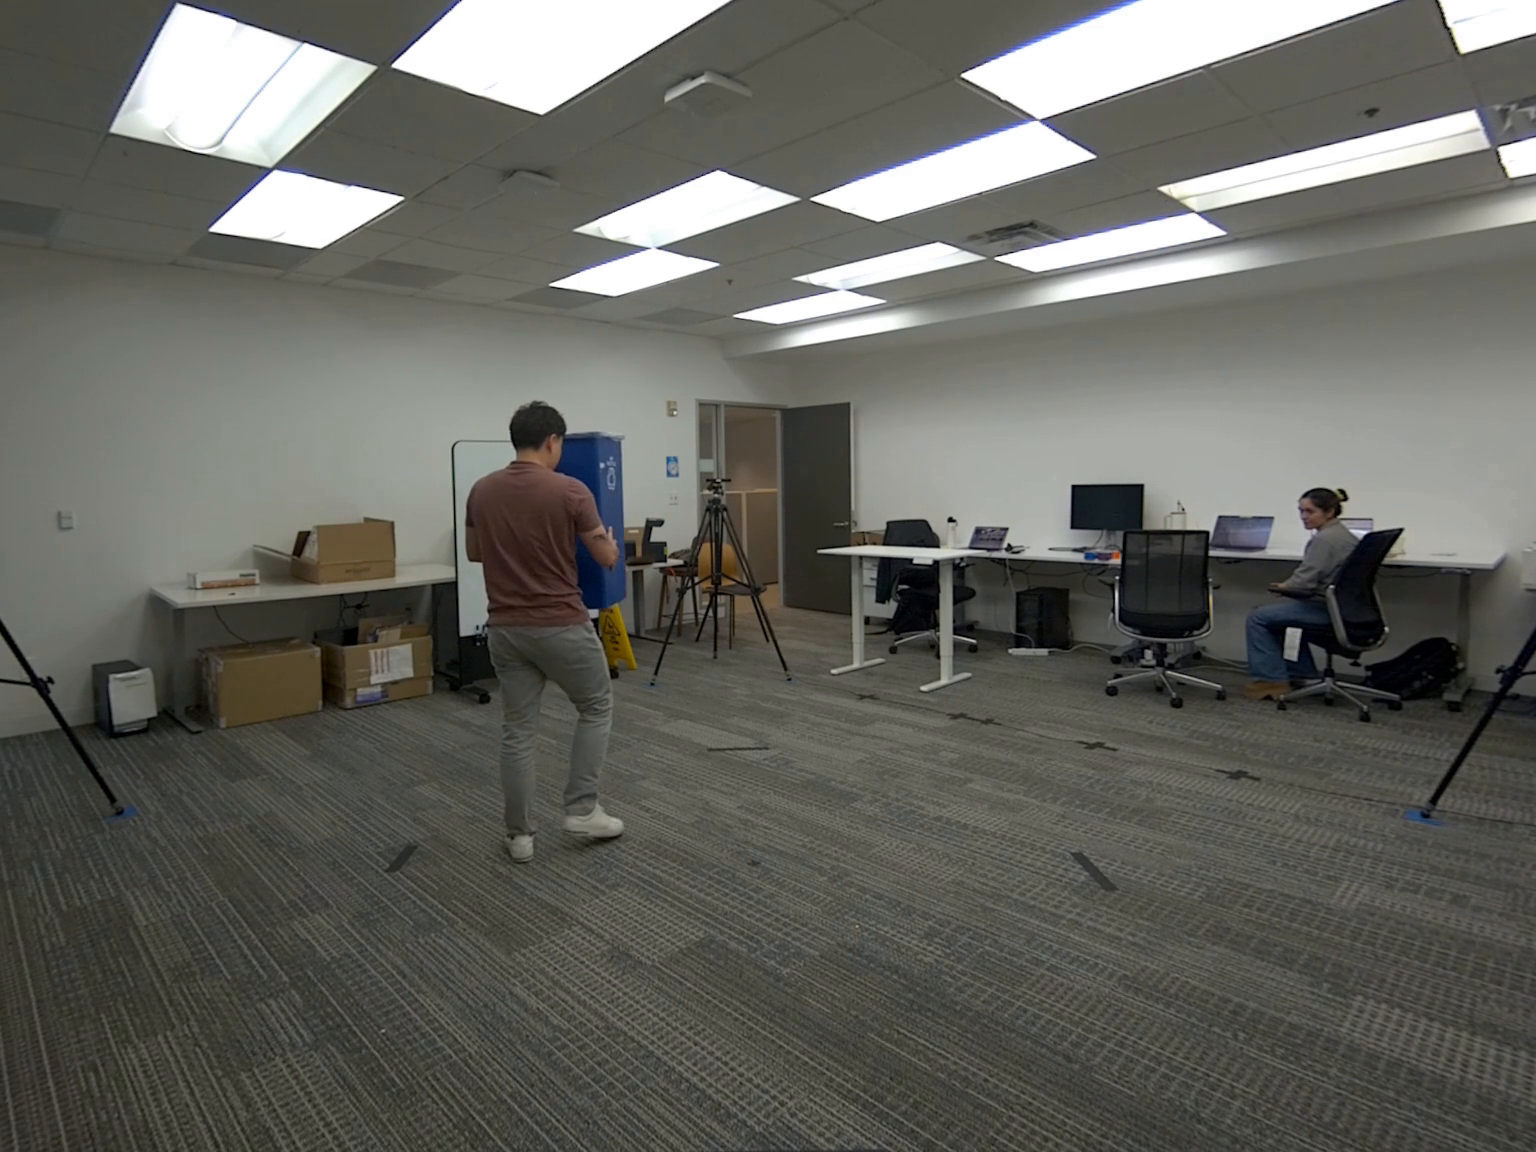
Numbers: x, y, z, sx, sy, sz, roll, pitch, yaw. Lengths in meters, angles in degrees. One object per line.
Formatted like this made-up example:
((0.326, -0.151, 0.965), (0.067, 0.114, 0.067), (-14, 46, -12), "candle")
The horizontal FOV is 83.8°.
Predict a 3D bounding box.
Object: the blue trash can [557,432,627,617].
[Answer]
((-0.808, -0.237, 3.603), (0.382, 0.710, 0.372), (-2, 6, 10), "blue trash can")
